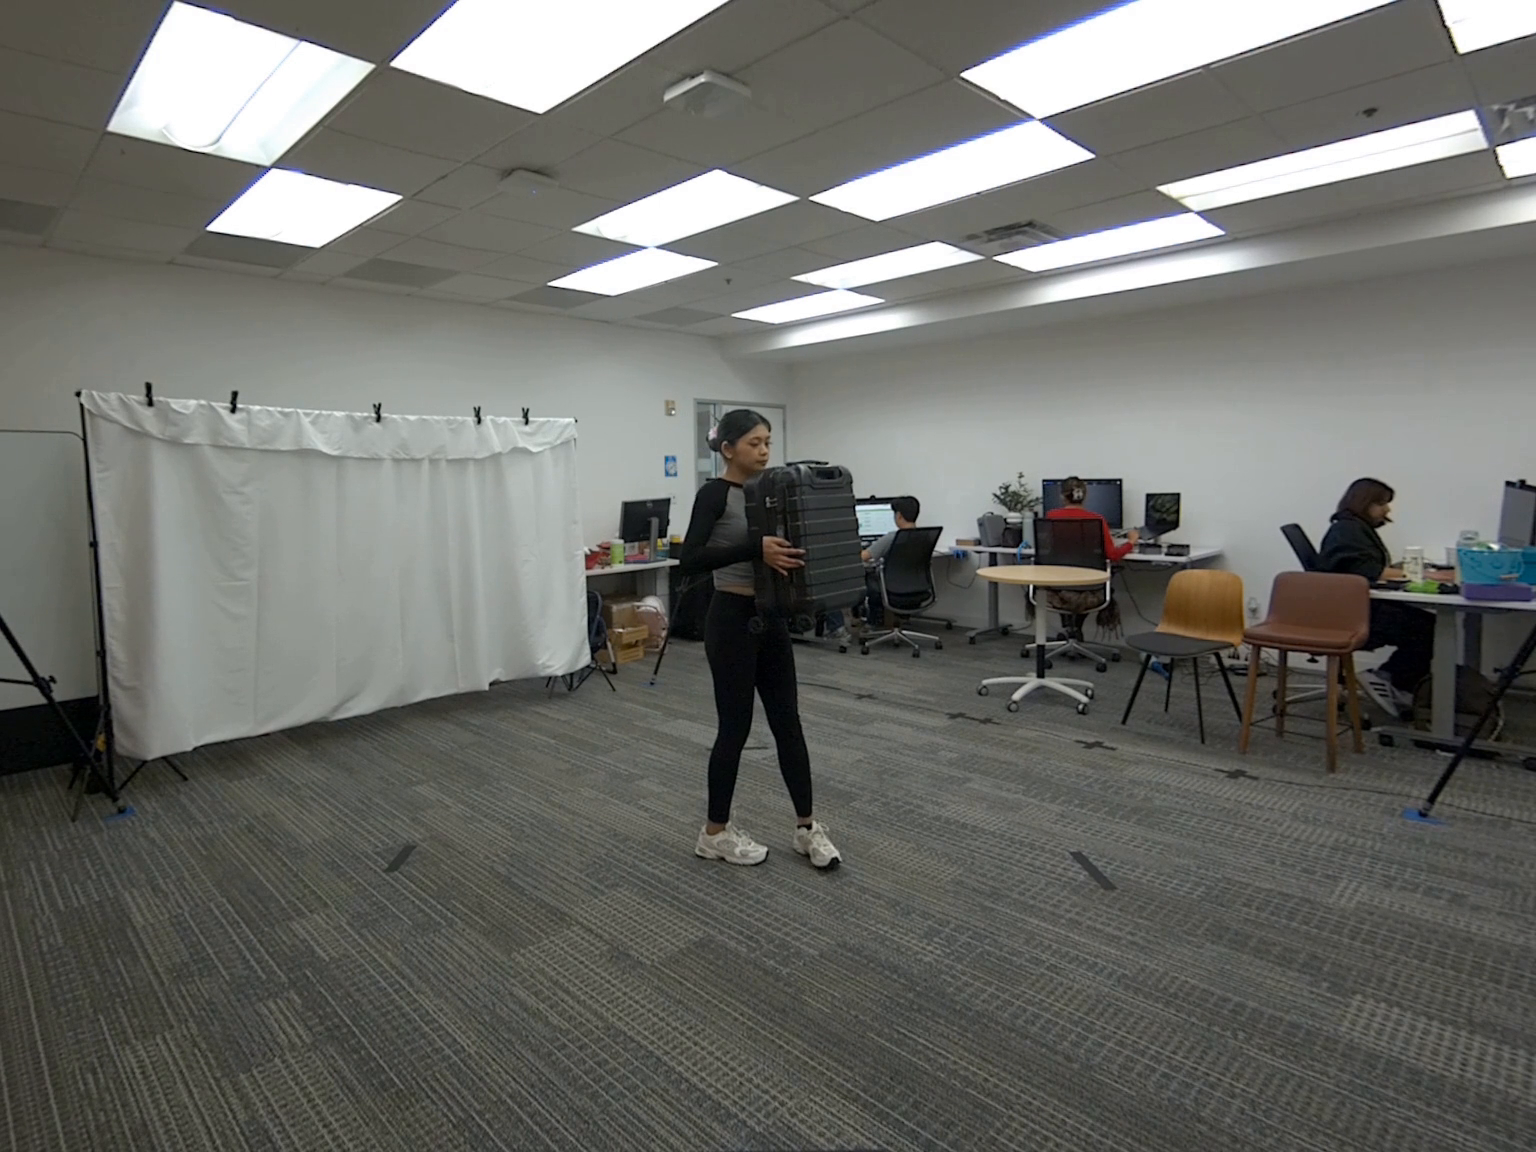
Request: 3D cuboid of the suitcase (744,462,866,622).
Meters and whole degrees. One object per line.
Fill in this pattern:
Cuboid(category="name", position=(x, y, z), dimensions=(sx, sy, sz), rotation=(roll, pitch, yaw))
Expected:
Cuboid(category="suitcase", position=(0.131, -0.112, 2.901), dimensions=(0.255, 0.549, 0.366), rotation=(-6, 1, 41))
